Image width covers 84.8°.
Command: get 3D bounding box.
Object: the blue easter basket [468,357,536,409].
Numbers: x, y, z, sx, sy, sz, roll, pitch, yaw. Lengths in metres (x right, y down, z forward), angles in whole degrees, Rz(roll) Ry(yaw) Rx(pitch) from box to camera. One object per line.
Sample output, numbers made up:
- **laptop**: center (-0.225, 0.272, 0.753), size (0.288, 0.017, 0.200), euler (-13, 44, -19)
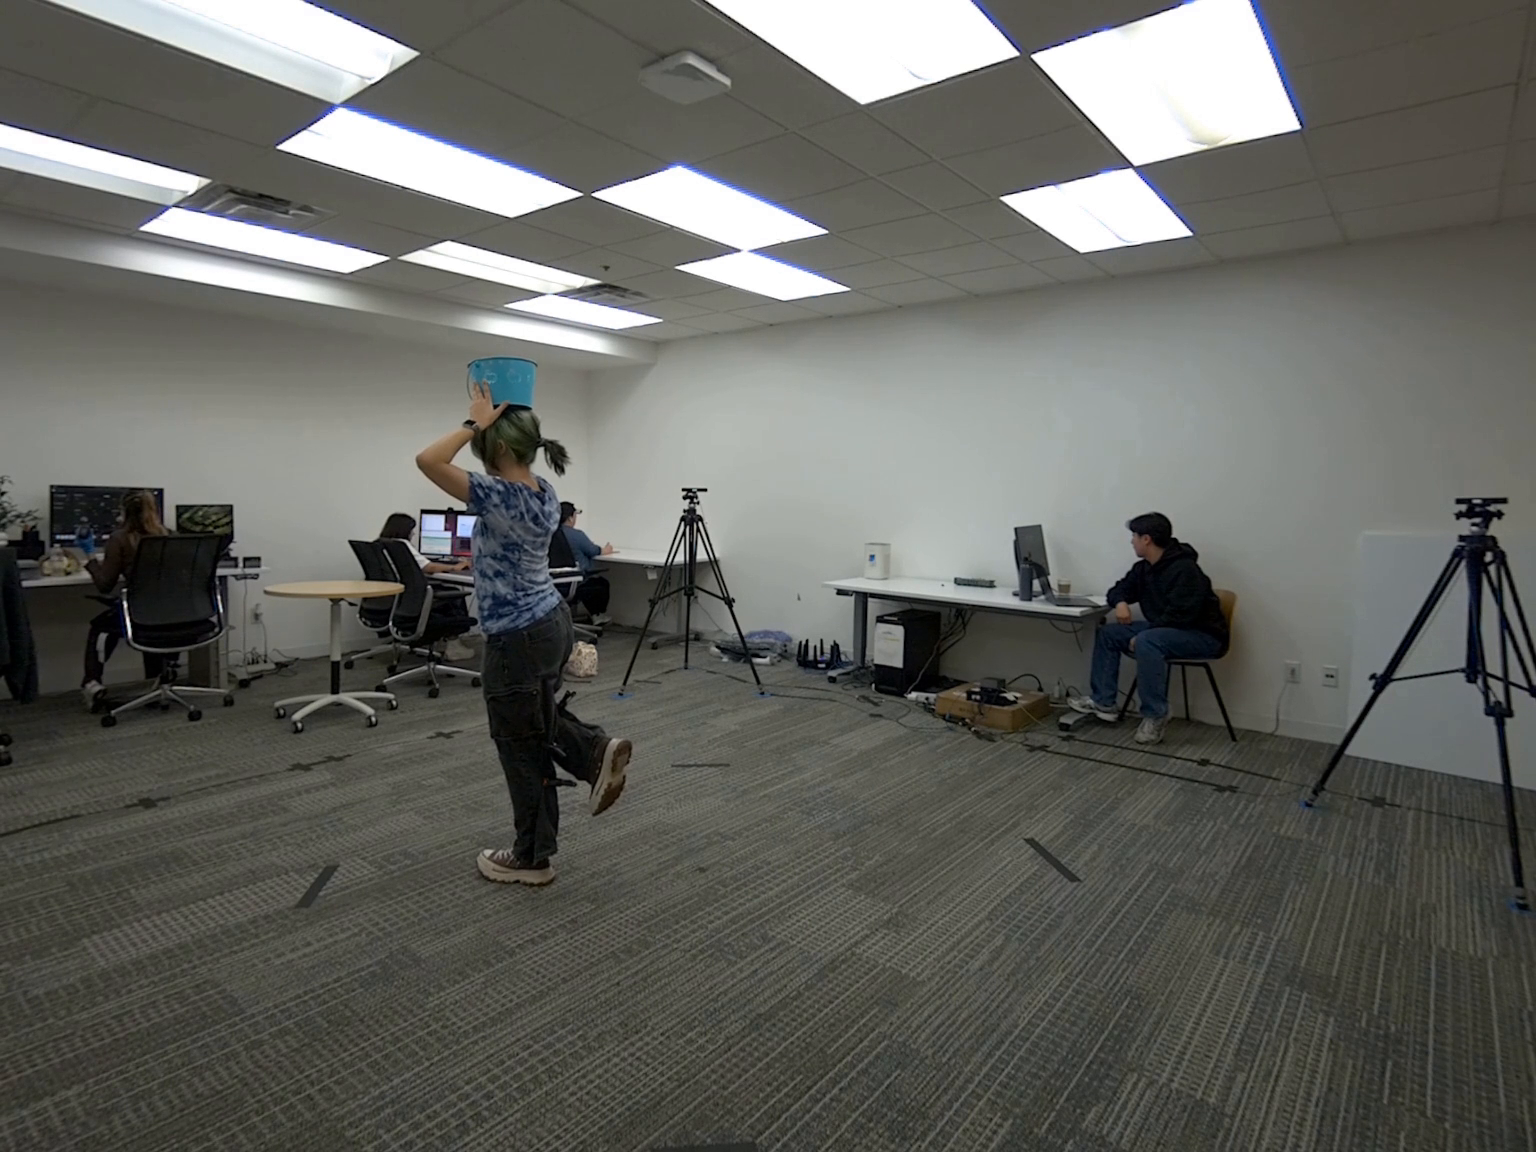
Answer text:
- **blue easter basket**: center (-0.911, -0.640, 2.887), size (0.243, 0.156, 0.243), euler (-5, 0, -2)
